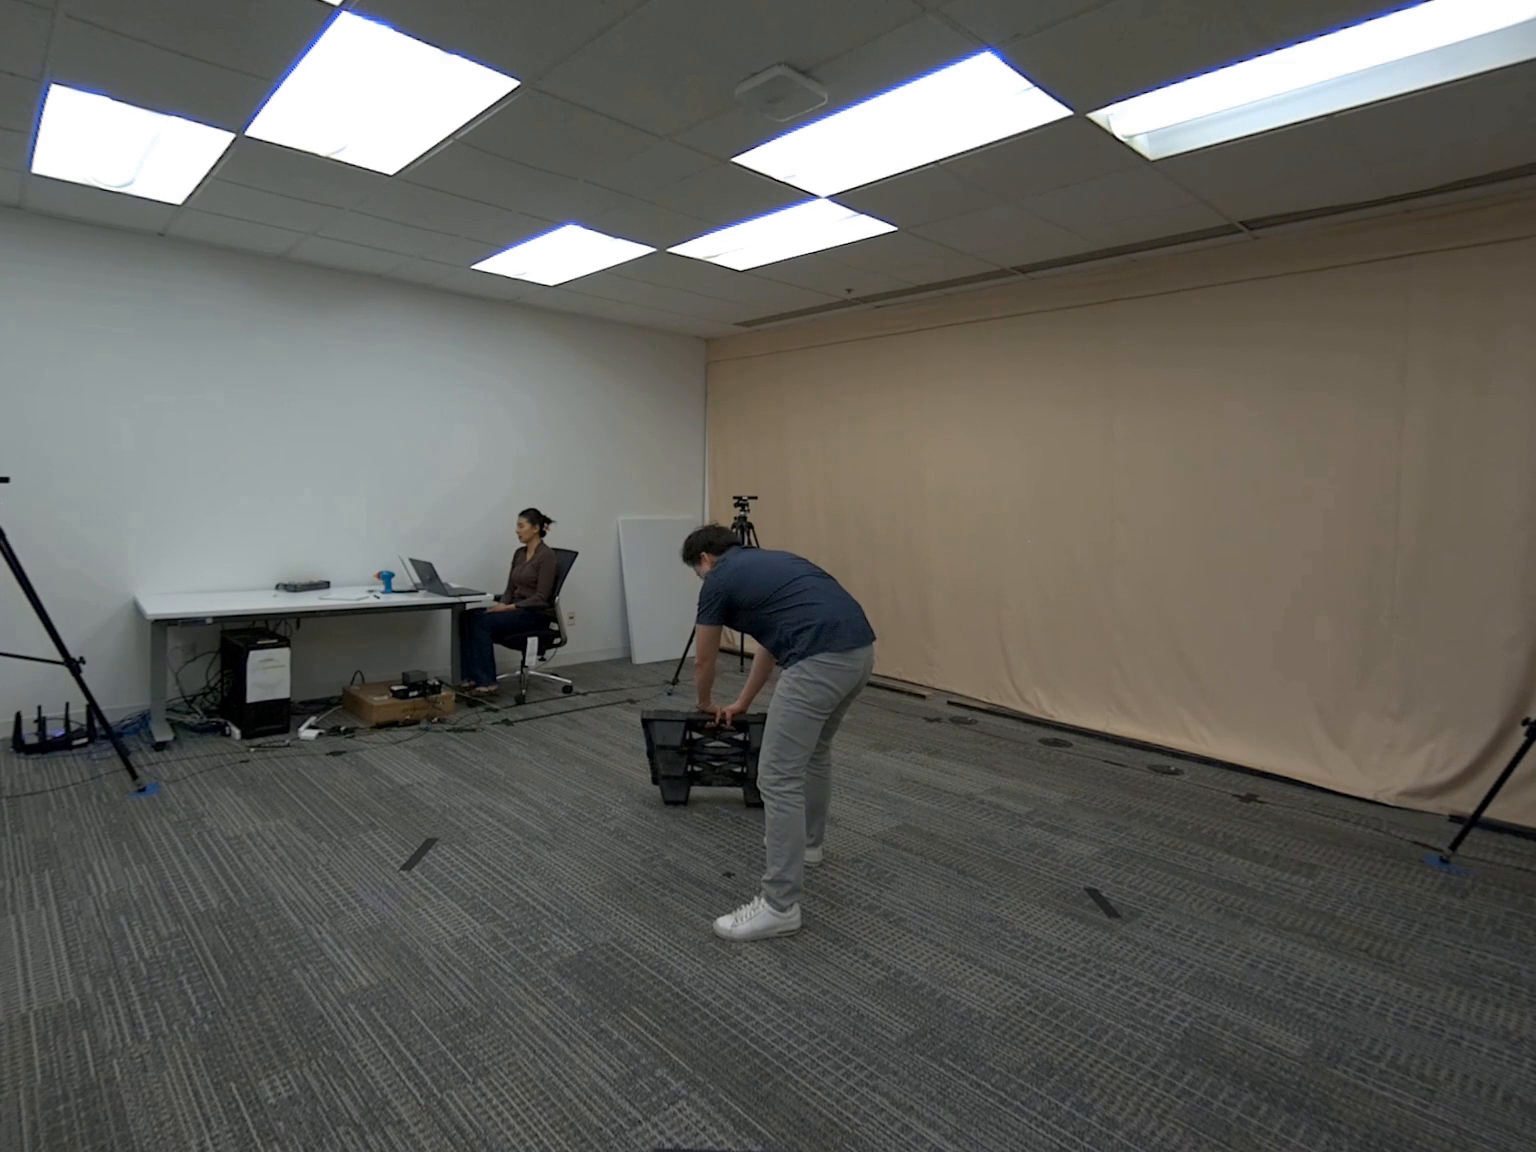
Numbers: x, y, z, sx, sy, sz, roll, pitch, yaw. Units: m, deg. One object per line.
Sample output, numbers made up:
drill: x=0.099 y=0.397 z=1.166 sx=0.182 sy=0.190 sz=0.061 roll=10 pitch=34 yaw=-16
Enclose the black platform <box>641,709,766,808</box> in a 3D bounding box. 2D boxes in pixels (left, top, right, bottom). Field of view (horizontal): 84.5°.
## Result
black platform: x=-0.227 y=0.784 z=3.538 sx=0.604 sy=0.146 sz=0.790 roll=2 pitch=-33 yaw=-2
